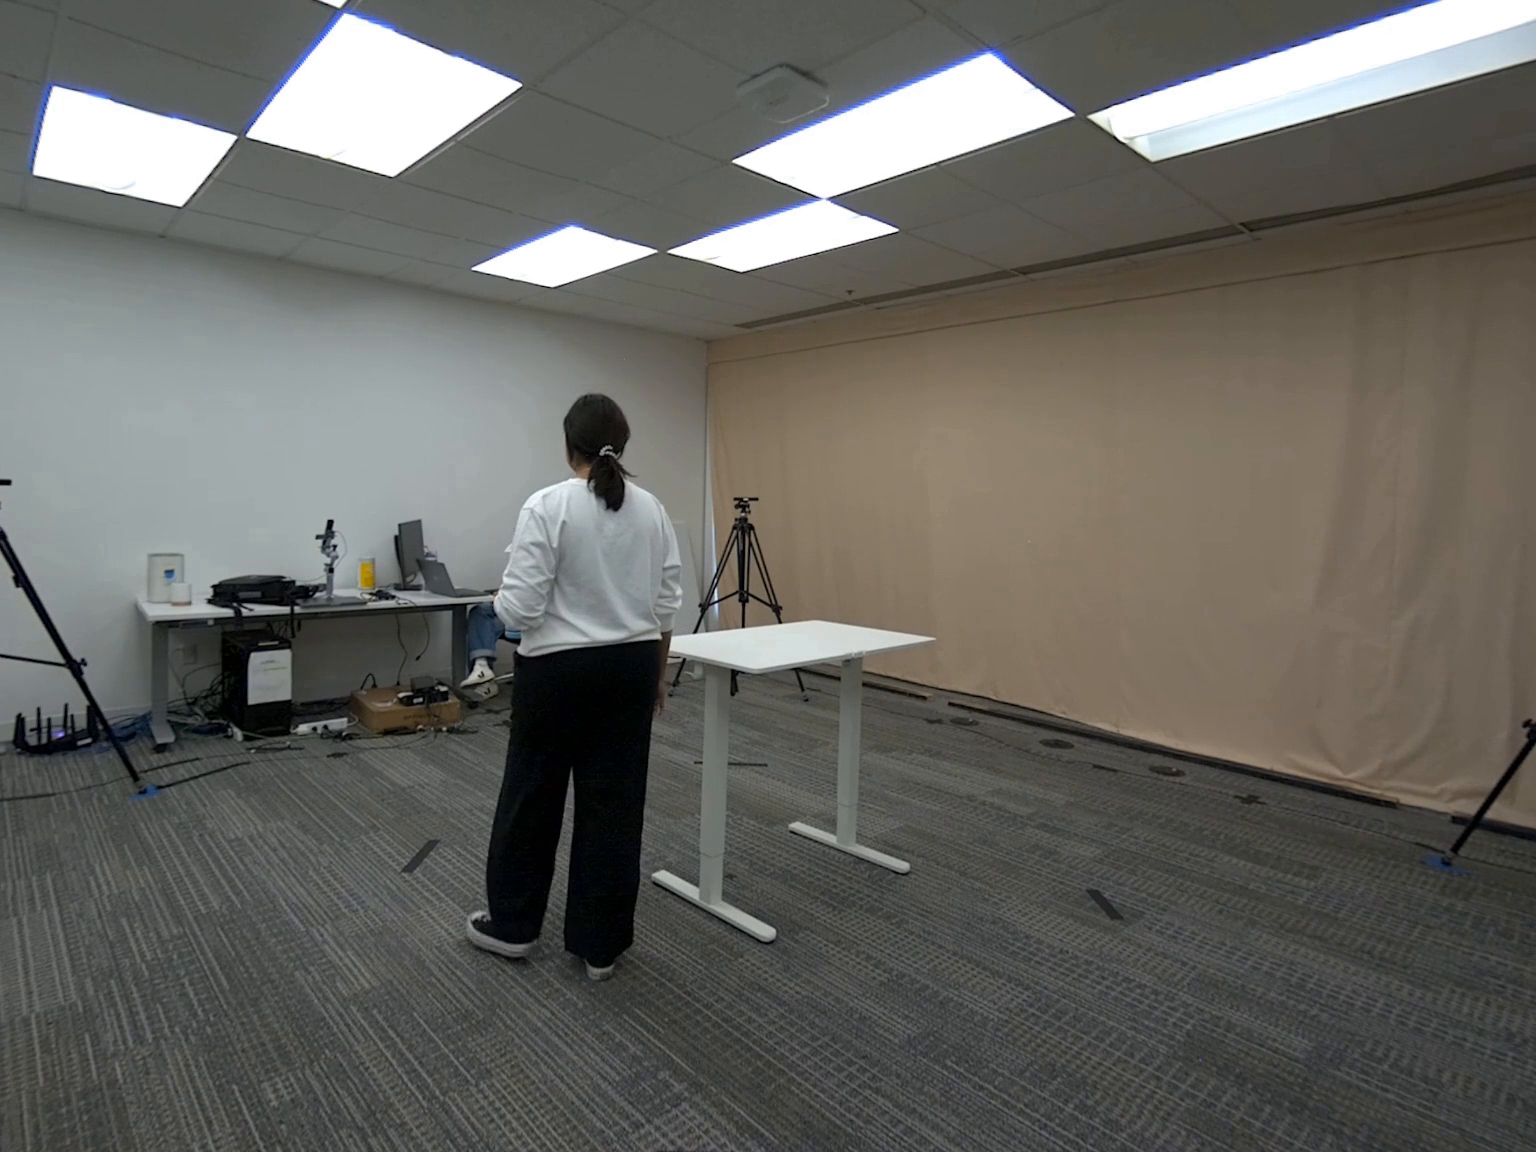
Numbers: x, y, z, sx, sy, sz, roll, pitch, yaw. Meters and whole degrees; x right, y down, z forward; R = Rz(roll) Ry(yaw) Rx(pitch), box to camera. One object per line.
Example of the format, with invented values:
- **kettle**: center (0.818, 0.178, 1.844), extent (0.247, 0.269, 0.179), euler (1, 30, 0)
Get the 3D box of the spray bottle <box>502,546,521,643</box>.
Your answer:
- **spray bottle**: center (-0.768, 0.047, 2.626), extent (0.090, 0.297, 0.087), euler (2, 3, 7)
